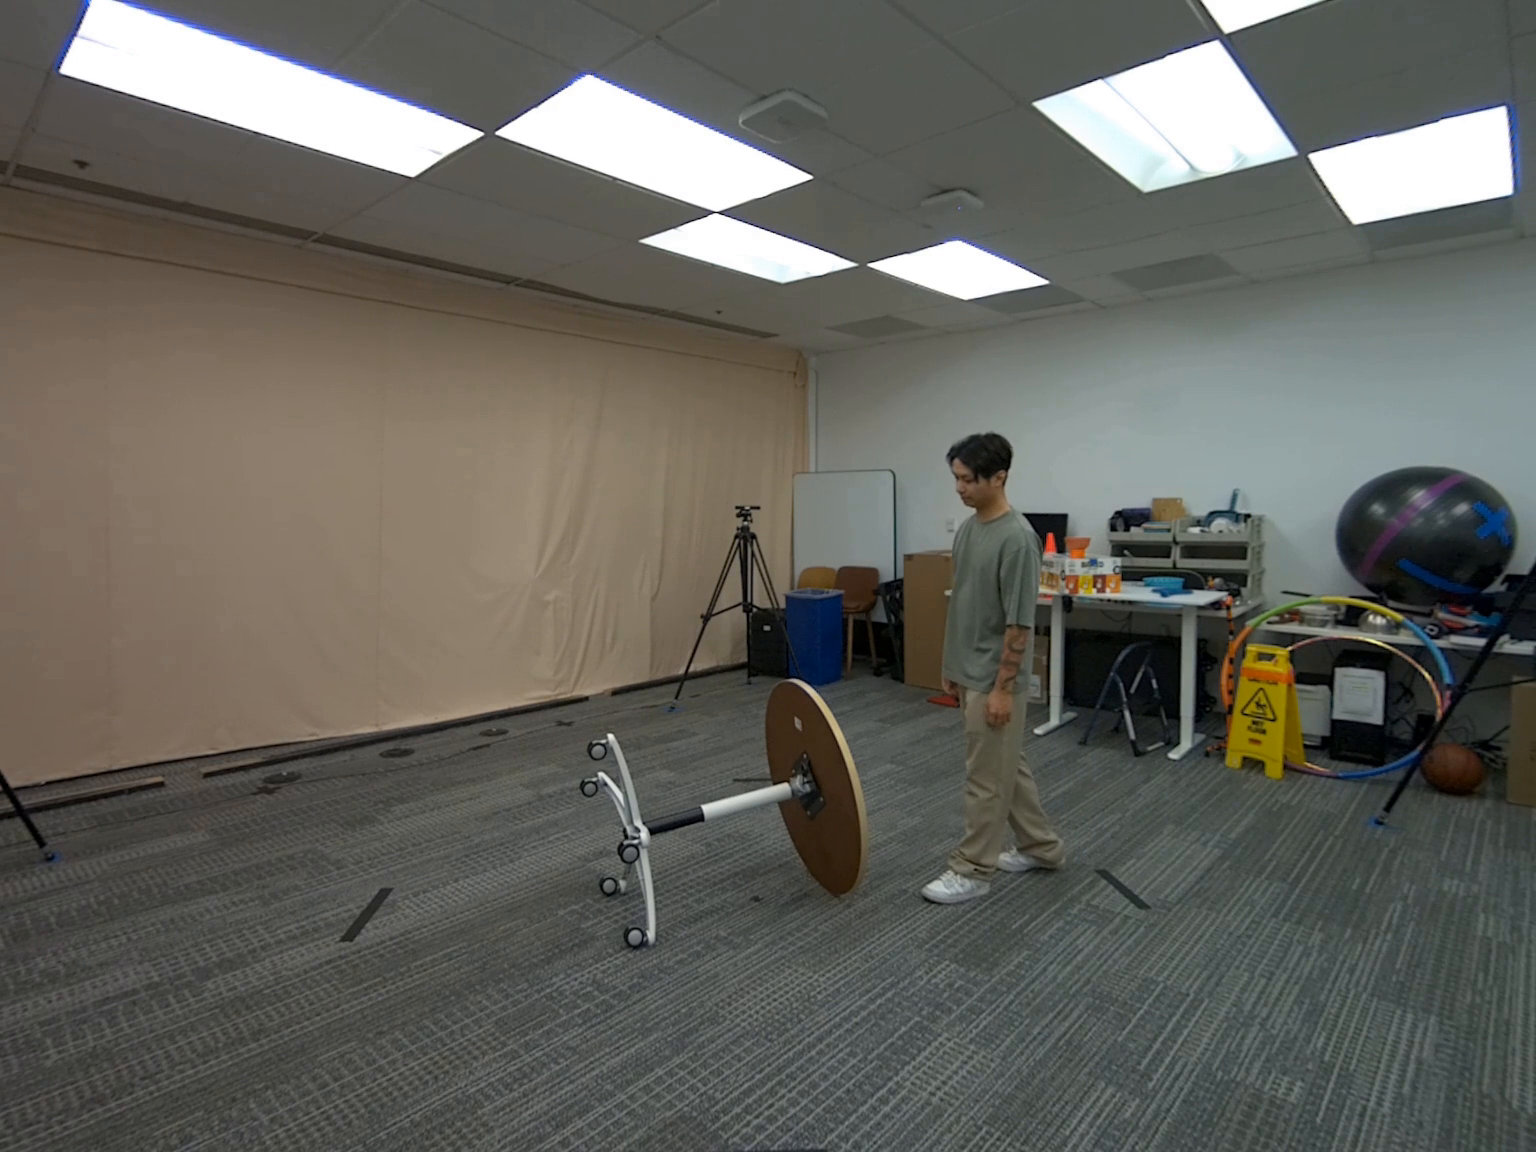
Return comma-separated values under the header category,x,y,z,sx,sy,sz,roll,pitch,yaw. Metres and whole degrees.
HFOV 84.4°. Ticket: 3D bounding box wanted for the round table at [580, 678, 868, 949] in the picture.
category,x,y,z,sx,sy,sz,roll,pitch,yaw
round table,-0.192,0.817,2.942,0.772,0.782,0.803,-9,6,-20
